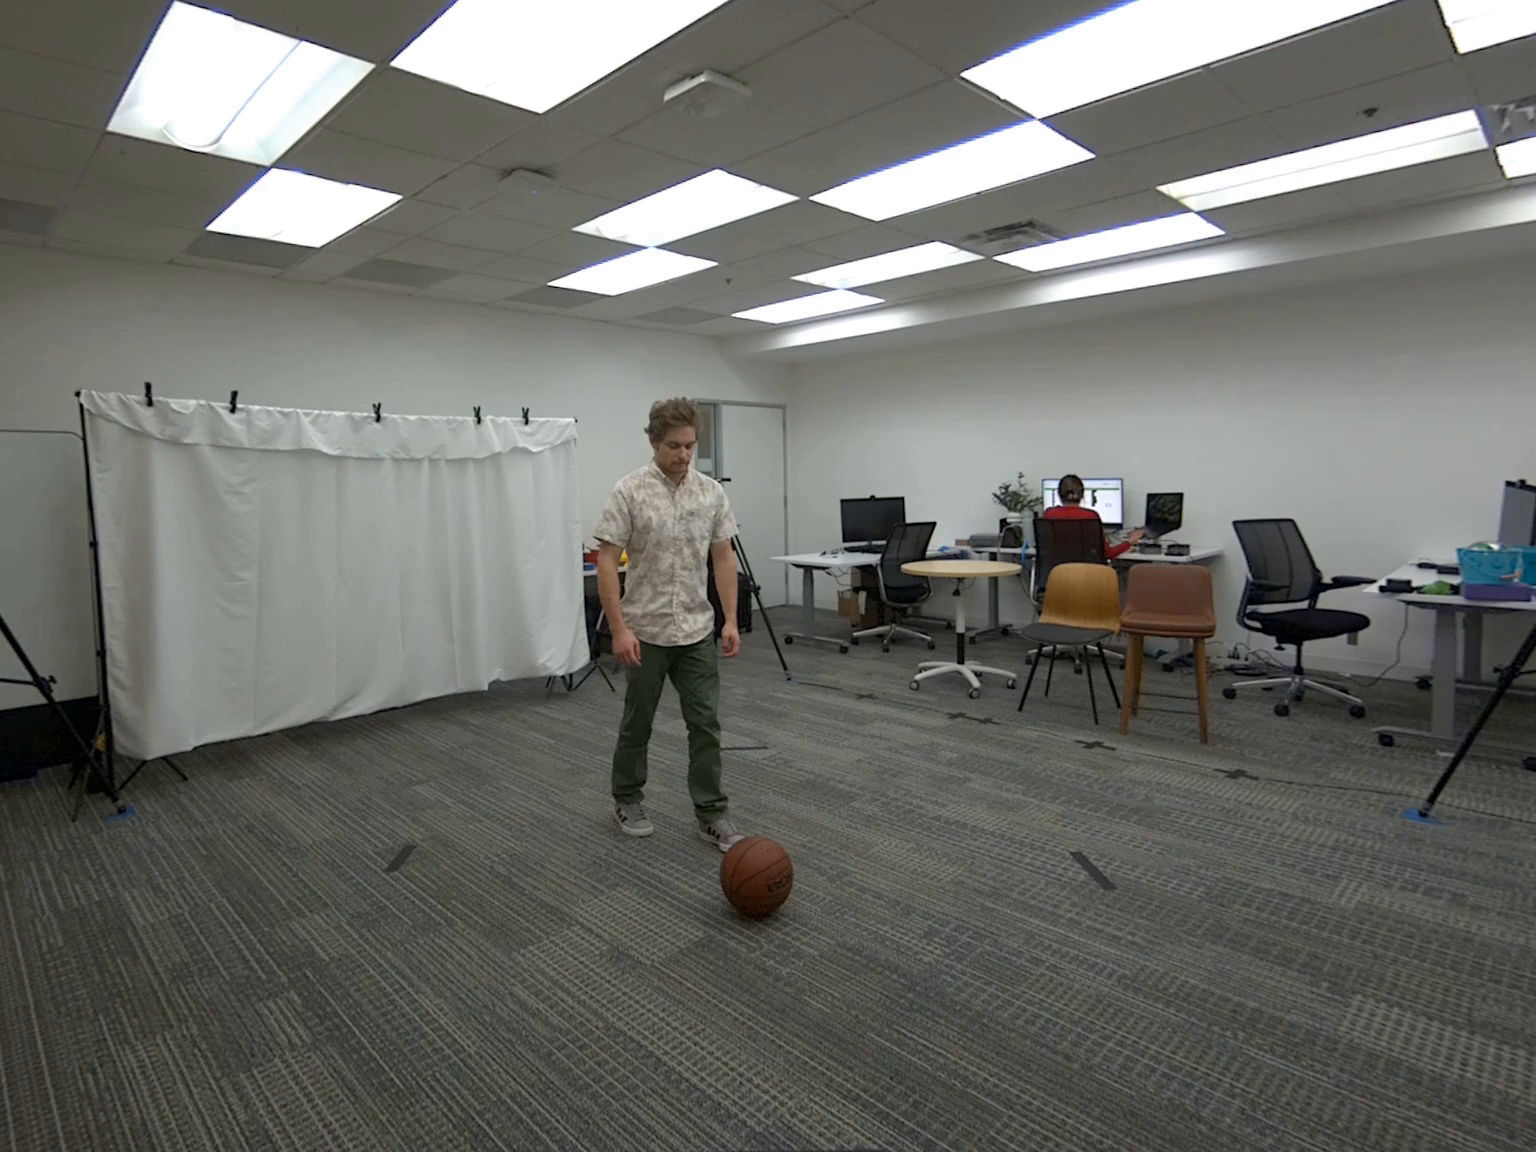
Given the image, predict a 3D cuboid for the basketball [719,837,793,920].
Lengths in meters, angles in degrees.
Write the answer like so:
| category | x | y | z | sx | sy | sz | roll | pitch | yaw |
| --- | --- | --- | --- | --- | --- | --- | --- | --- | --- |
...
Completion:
| category | x | y | z | sx | sy | sz | roll | pitch | yaw |
| --- | --- | --- | --- | --- | --- | --- | --- | --- | --- |
| basketball | -0.034 | 0.960 | 2.755 | 0.236 | 0.235 | 0.237 | -1 | 5 | -2 |
